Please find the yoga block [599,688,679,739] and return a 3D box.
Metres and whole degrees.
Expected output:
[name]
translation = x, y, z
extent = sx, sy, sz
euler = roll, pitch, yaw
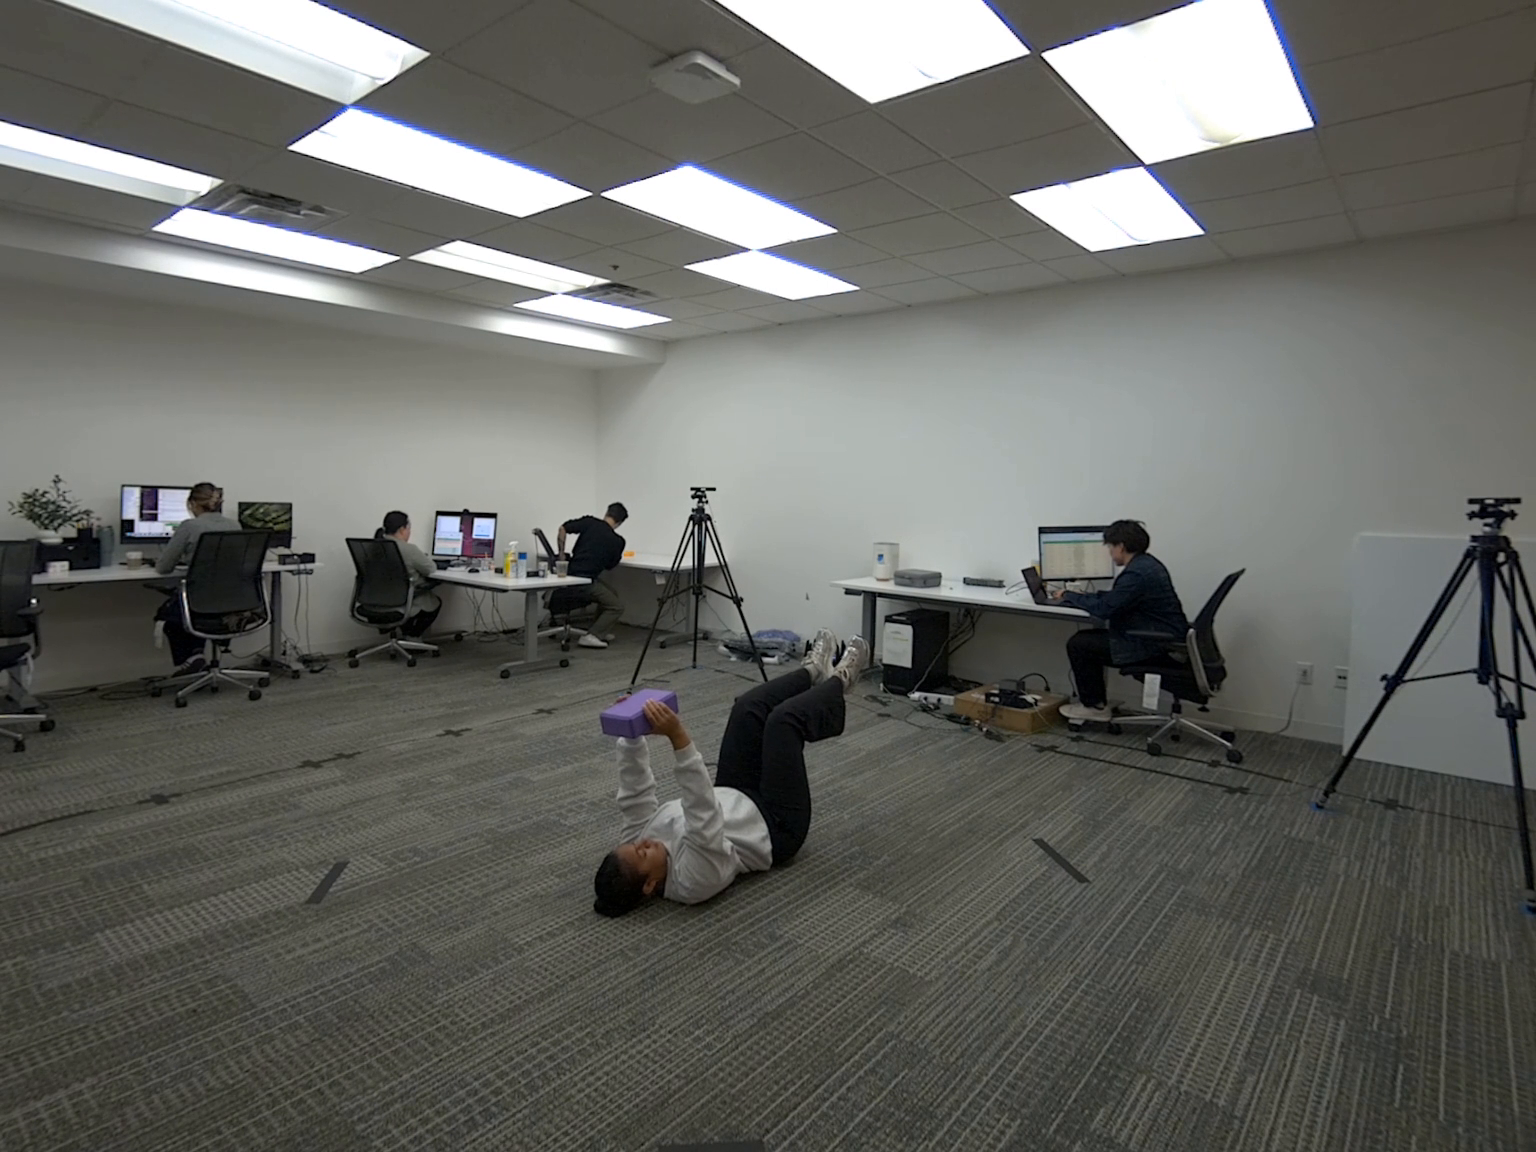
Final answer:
[yoga block]
translation = -0.432, 0.447, 2.786
extent = 0.153, 0.075, 0.225
euler = -1, 15, 36
